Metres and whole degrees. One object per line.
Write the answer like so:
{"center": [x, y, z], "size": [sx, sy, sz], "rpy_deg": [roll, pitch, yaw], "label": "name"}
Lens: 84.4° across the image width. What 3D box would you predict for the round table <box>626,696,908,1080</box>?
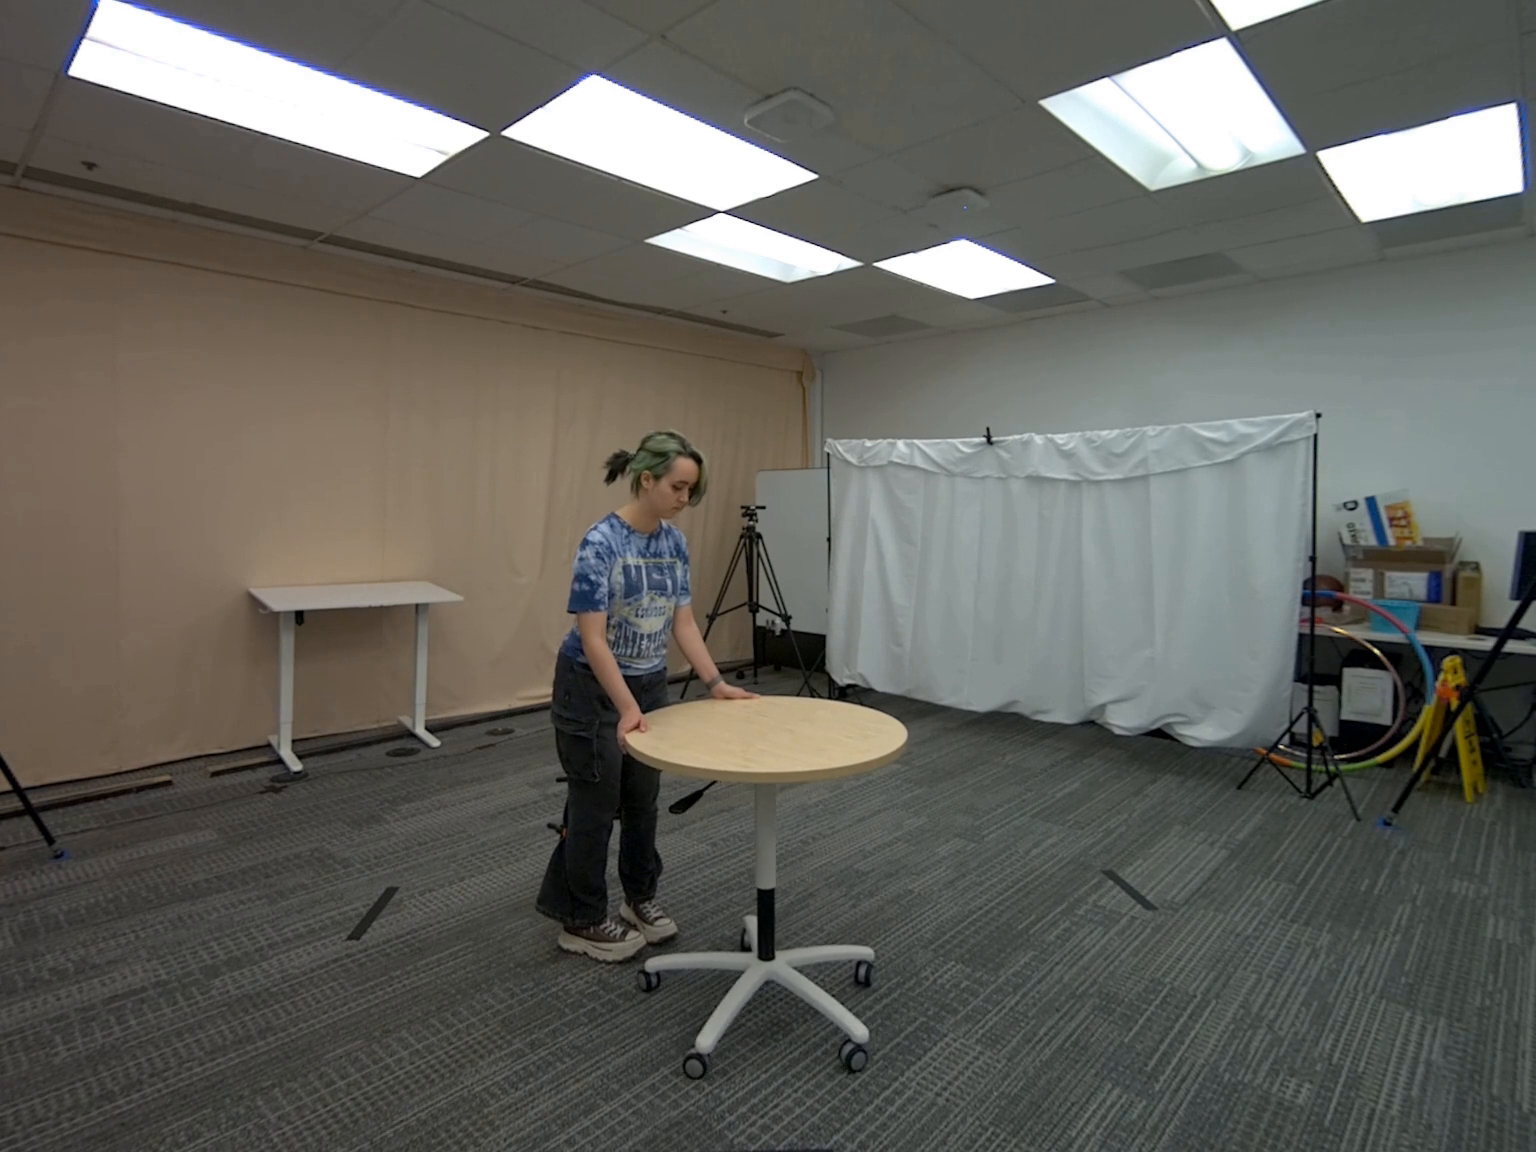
{"center": [-0.002, 0.814, 2.318], "size": [0.763, 0.792, 0.766], "rpy_deg": [-1, 4, -2], "label": "round table"}
